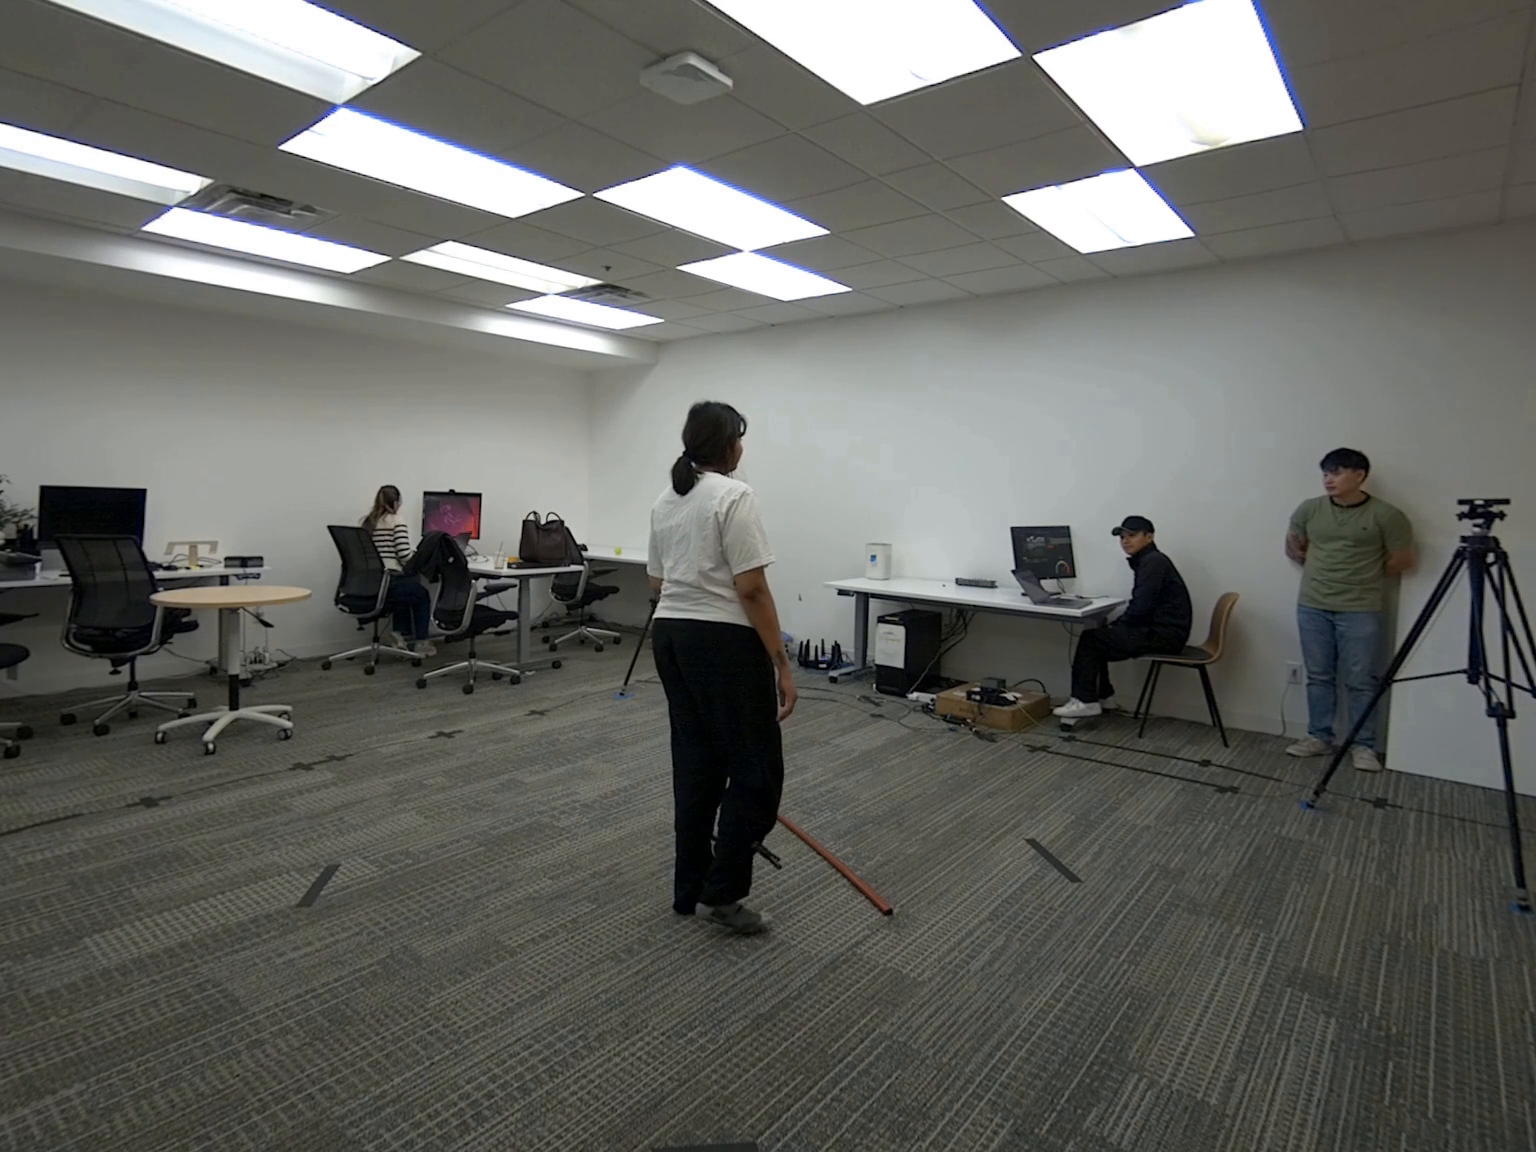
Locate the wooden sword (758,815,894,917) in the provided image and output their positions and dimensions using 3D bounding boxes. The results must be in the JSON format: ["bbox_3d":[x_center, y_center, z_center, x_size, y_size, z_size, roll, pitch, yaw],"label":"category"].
[{"bbox_3d":[0.167,1.035,3.273,0.050,0.024,1.053,-4,8,-24],"label":"wooden sword"}]
